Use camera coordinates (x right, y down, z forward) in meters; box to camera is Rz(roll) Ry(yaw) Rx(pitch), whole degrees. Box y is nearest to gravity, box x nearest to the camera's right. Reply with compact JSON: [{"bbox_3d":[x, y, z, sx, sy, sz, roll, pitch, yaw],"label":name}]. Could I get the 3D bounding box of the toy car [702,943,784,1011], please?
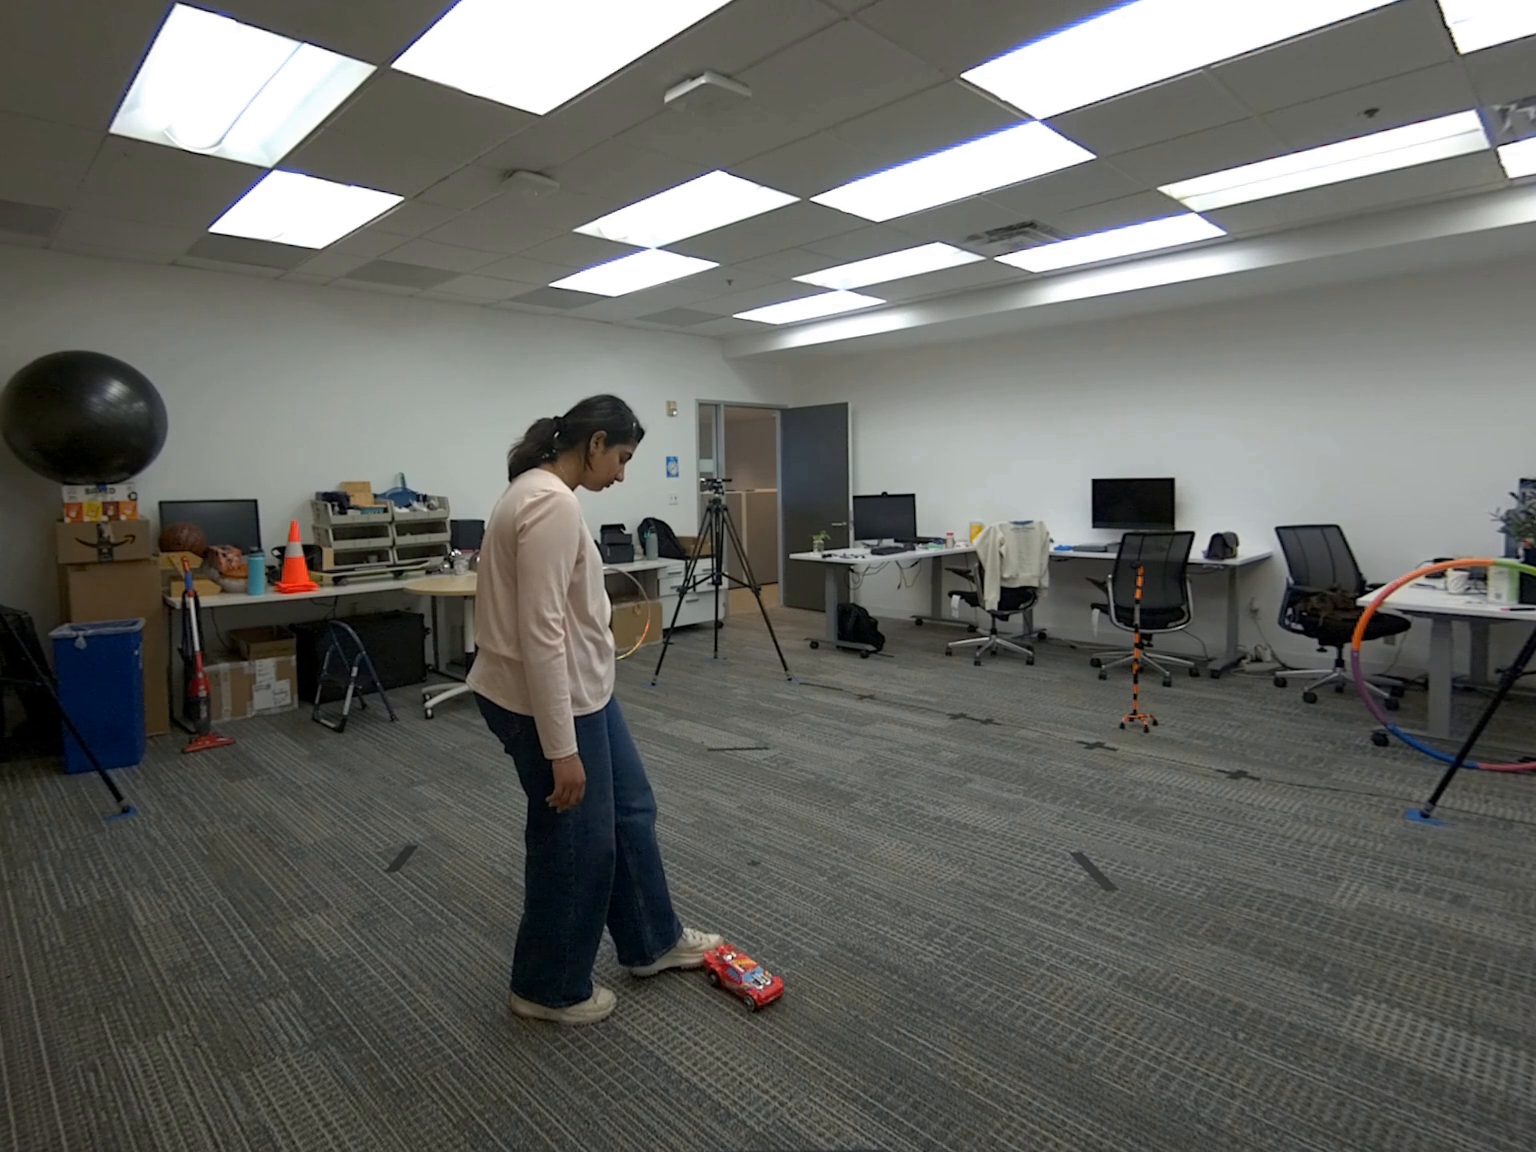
[{"bbox_3d":[-0.077,1.095,2.359,0.127,0.082,0.264,-7,19,-40],"label":"toy car"}]
